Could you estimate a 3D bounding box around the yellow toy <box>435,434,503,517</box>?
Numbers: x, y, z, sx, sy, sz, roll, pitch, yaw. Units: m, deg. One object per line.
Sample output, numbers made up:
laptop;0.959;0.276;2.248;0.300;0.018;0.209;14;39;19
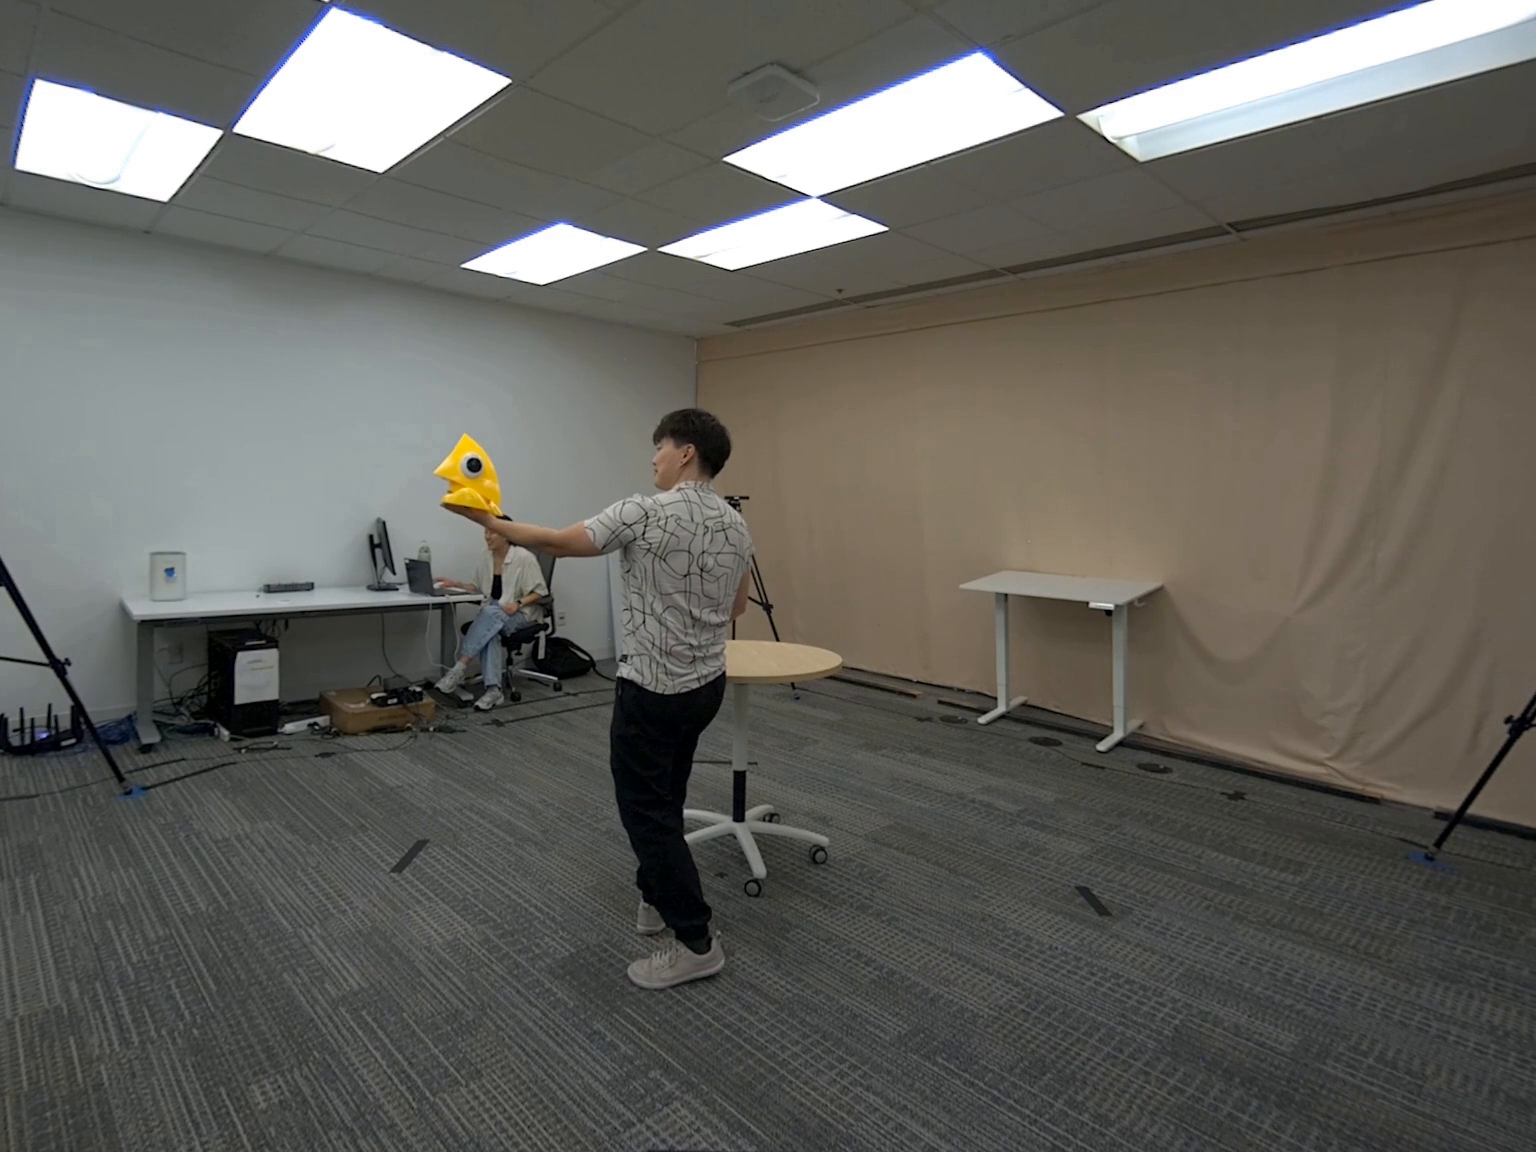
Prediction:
yellow toy;-0.914;-0.320;2.620;0.193;0.231;0.204;10;-4;1
